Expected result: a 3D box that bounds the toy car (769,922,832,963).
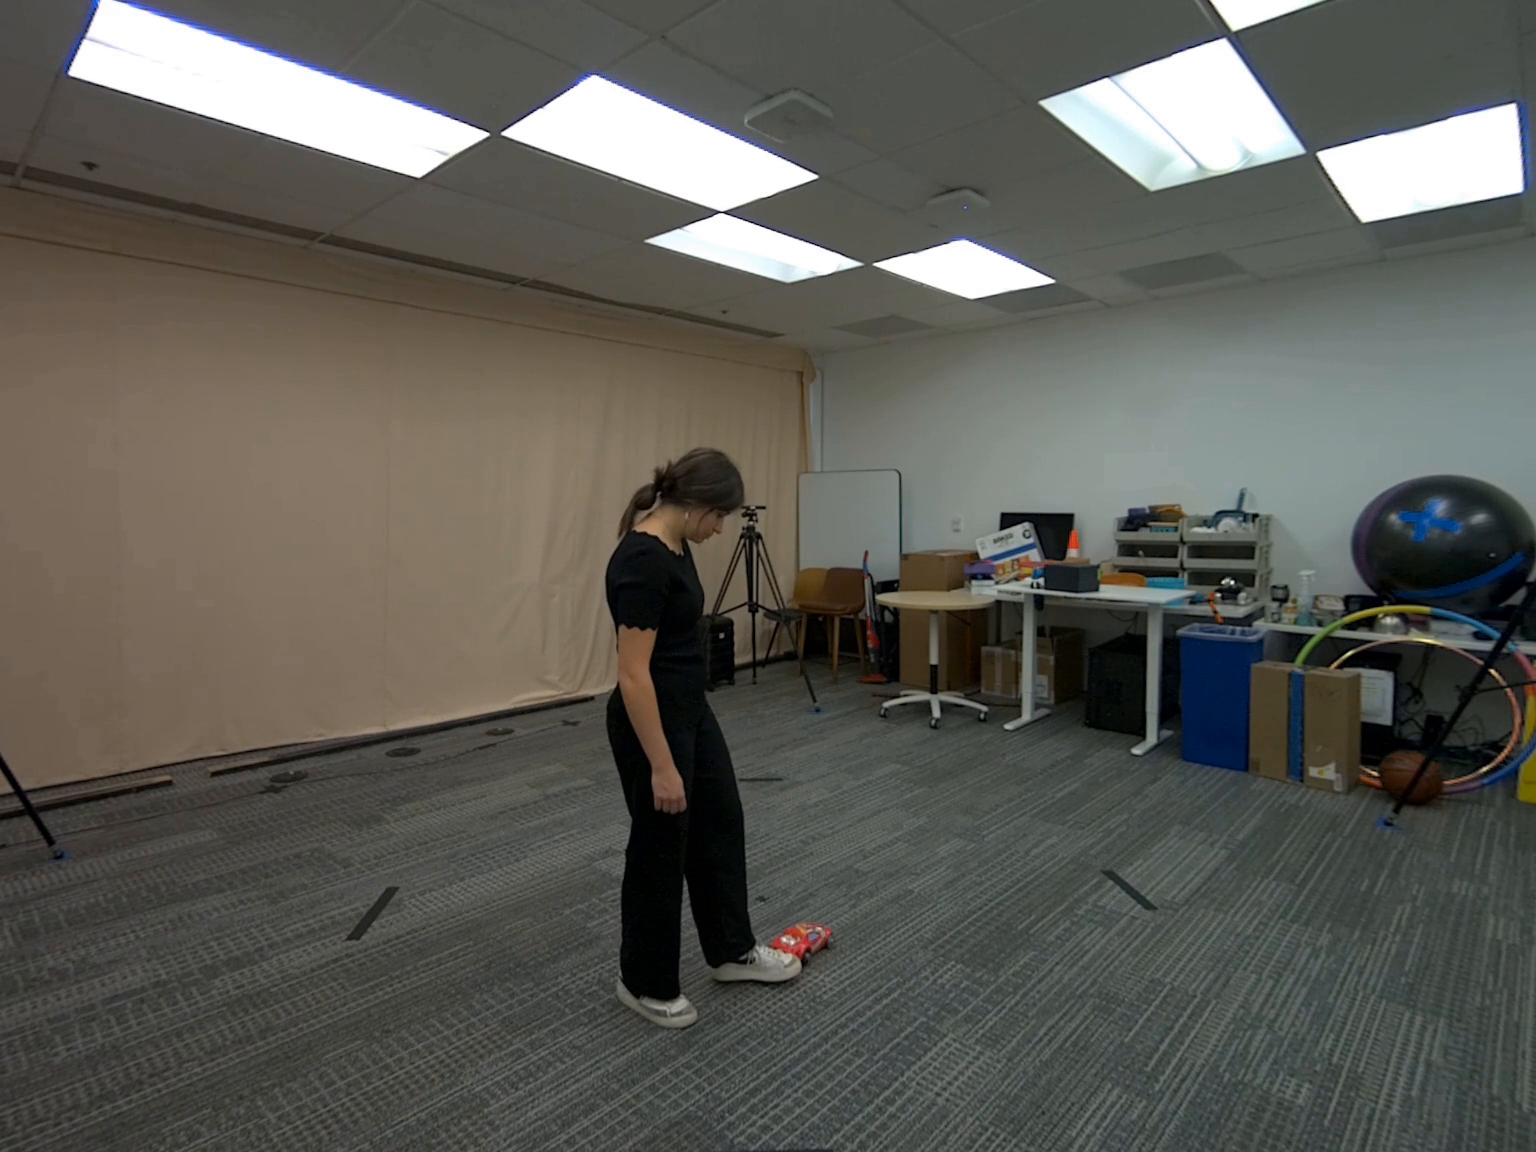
[{"bbox_3d":[0.102,1.139,2.601,0.134,0.083,0.245,3,-10,36],"label":"toy car"}]
